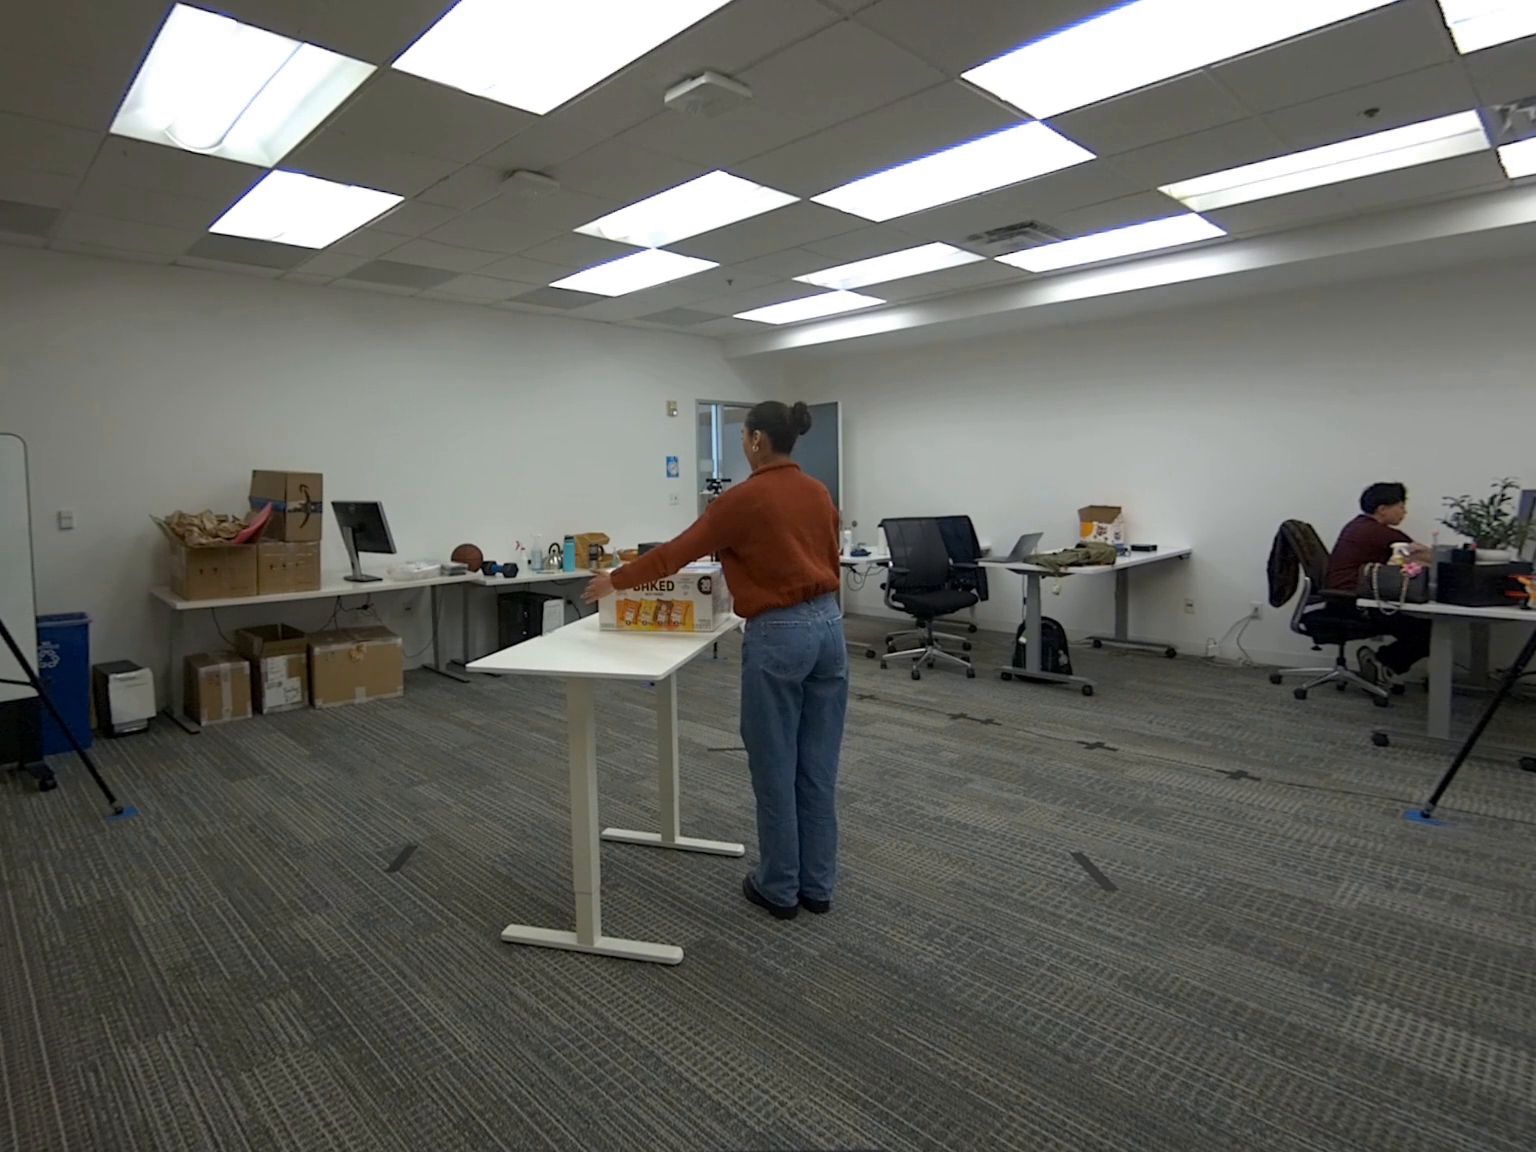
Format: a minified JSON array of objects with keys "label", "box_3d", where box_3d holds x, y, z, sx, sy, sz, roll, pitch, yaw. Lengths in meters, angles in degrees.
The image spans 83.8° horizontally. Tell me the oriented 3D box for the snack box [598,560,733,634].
[{"label":"snack box","box_3d":[-0.355,0.065,3.083,0.410,0.204,0.338,1,8,12]}]
